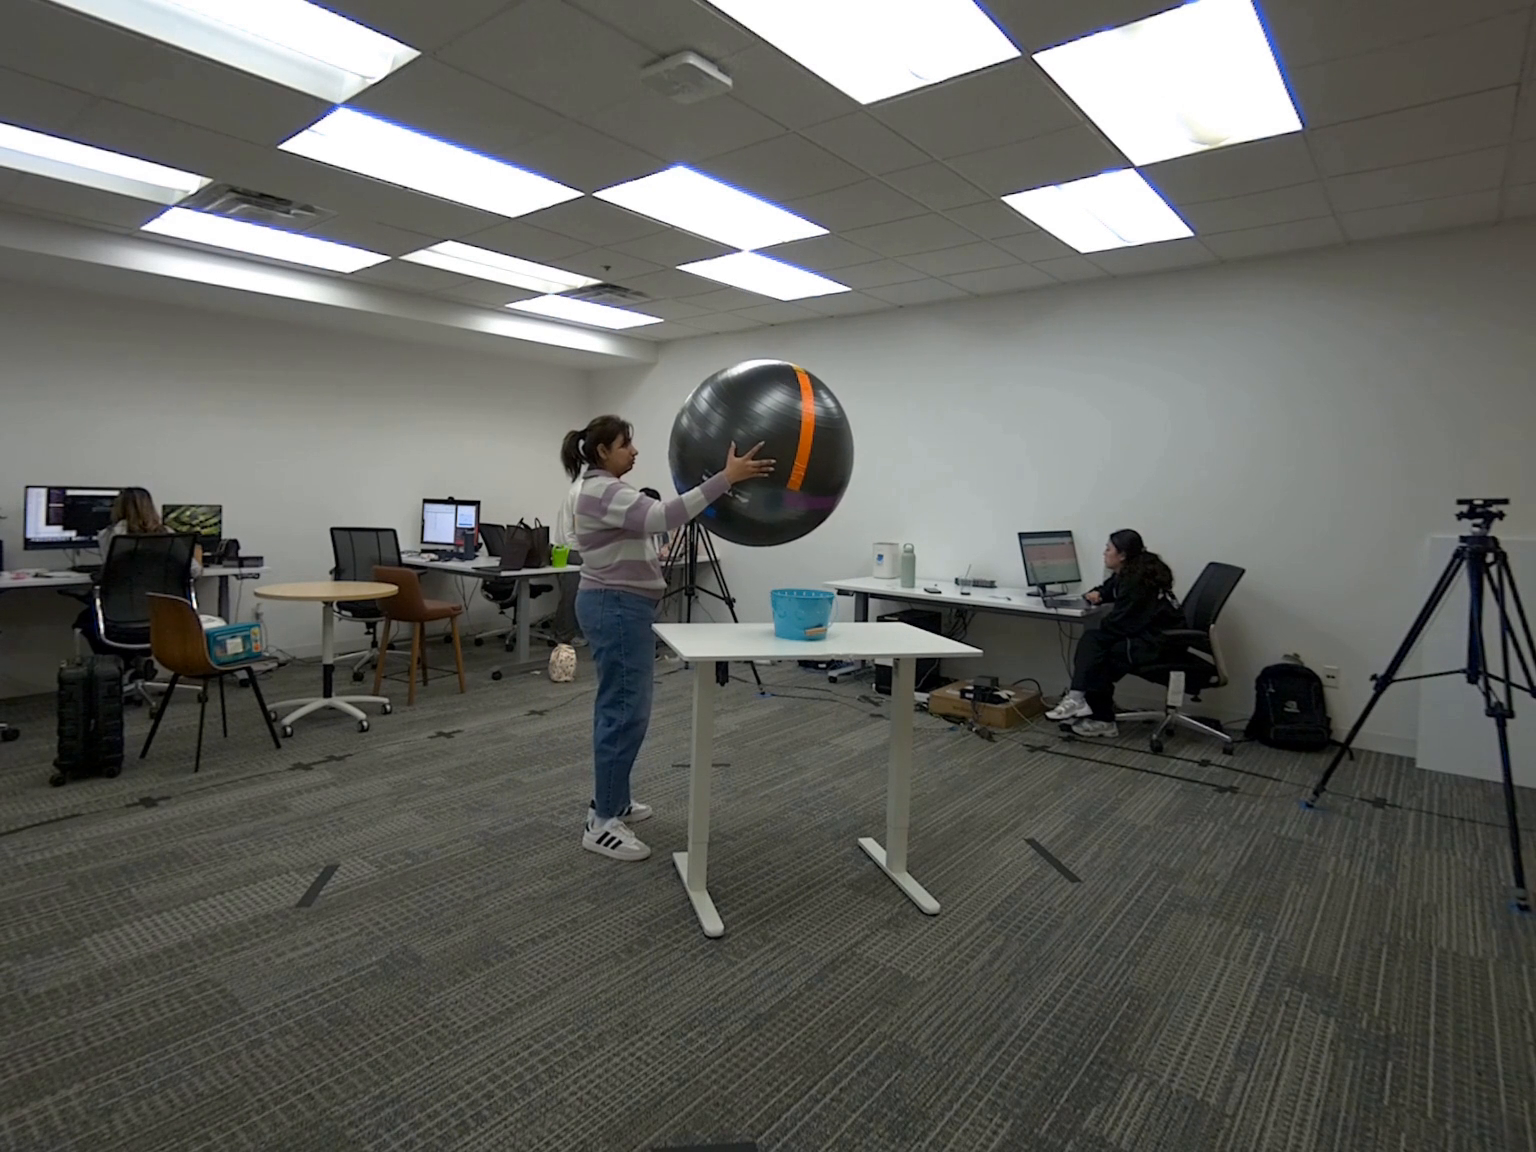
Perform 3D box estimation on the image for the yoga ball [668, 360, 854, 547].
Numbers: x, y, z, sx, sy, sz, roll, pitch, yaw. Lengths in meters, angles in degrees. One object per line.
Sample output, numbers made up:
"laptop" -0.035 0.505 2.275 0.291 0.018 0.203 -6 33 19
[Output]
"yoga ball" -0.027 -0.495 3.493 0.757 0.755 0.762 1 4 -2
